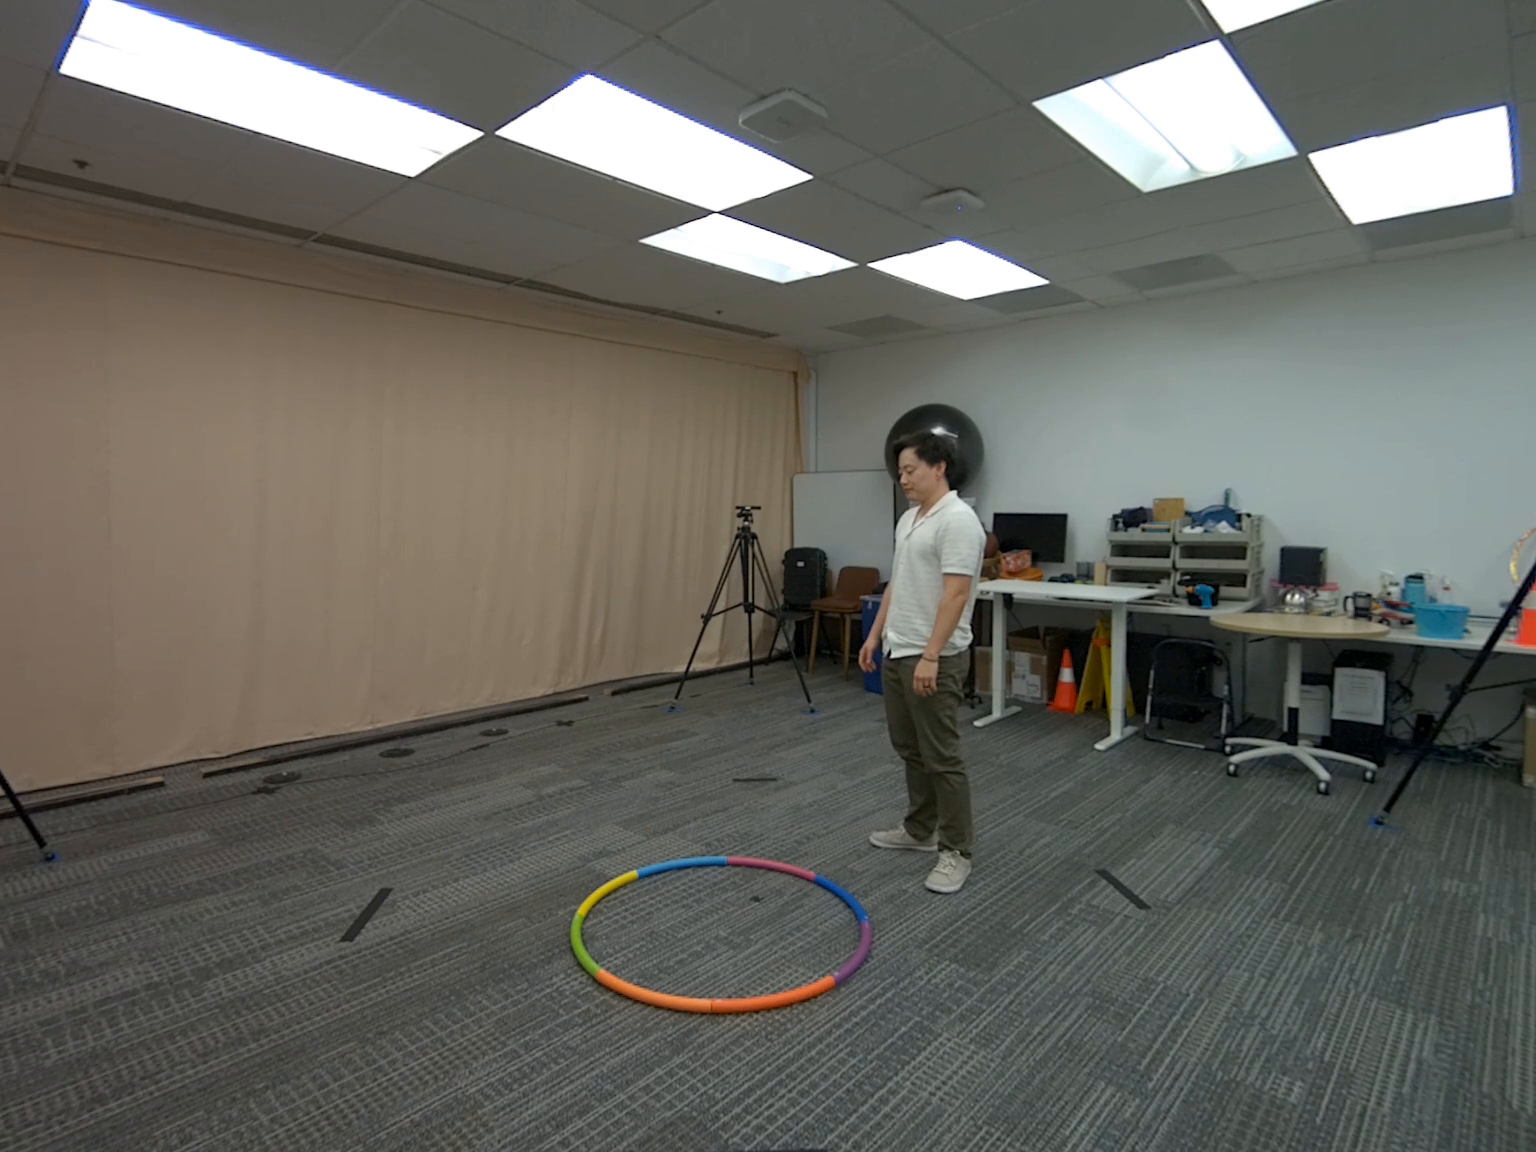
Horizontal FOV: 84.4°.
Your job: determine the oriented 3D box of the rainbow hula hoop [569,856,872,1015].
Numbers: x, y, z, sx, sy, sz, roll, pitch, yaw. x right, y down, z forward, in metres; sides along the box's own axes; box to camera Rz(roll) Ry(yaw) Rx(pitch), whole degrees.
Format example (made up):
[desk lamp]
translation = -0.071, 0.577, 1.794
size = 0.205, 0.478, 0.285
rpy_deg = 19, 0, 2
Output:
[rainbow hula hoop]
translation = -0.152, 1.133, 2.792
size = 0.978, 0.035, 0.982
rpy_deg = 0, 4, -2
